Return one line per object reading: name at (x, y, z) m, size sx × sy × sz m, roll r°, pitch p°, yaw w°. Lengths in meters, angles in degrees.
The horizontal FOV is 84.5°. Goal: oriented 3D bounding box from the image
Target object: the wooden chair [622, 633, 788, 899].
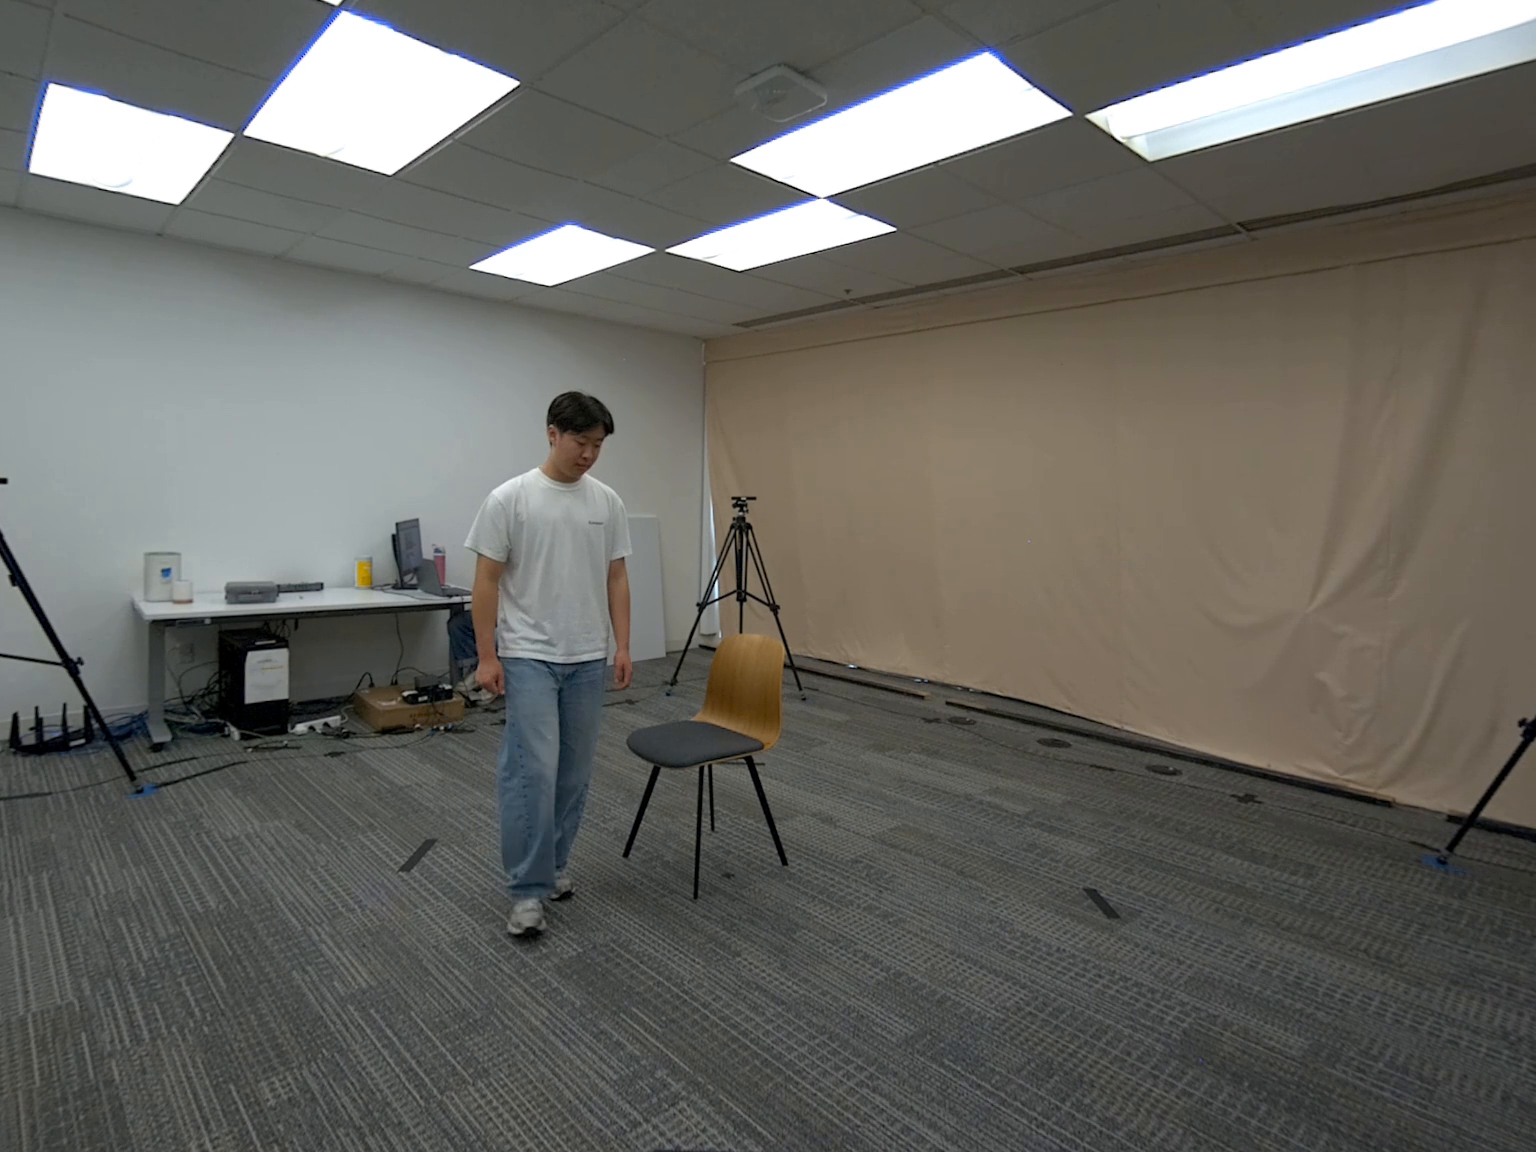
wooden chair at (-0.243, 0.670, 3.190) m, size 0.510 × 0.877 × 0.490 m, roll 4°, pitch 0°, yaw -42°
